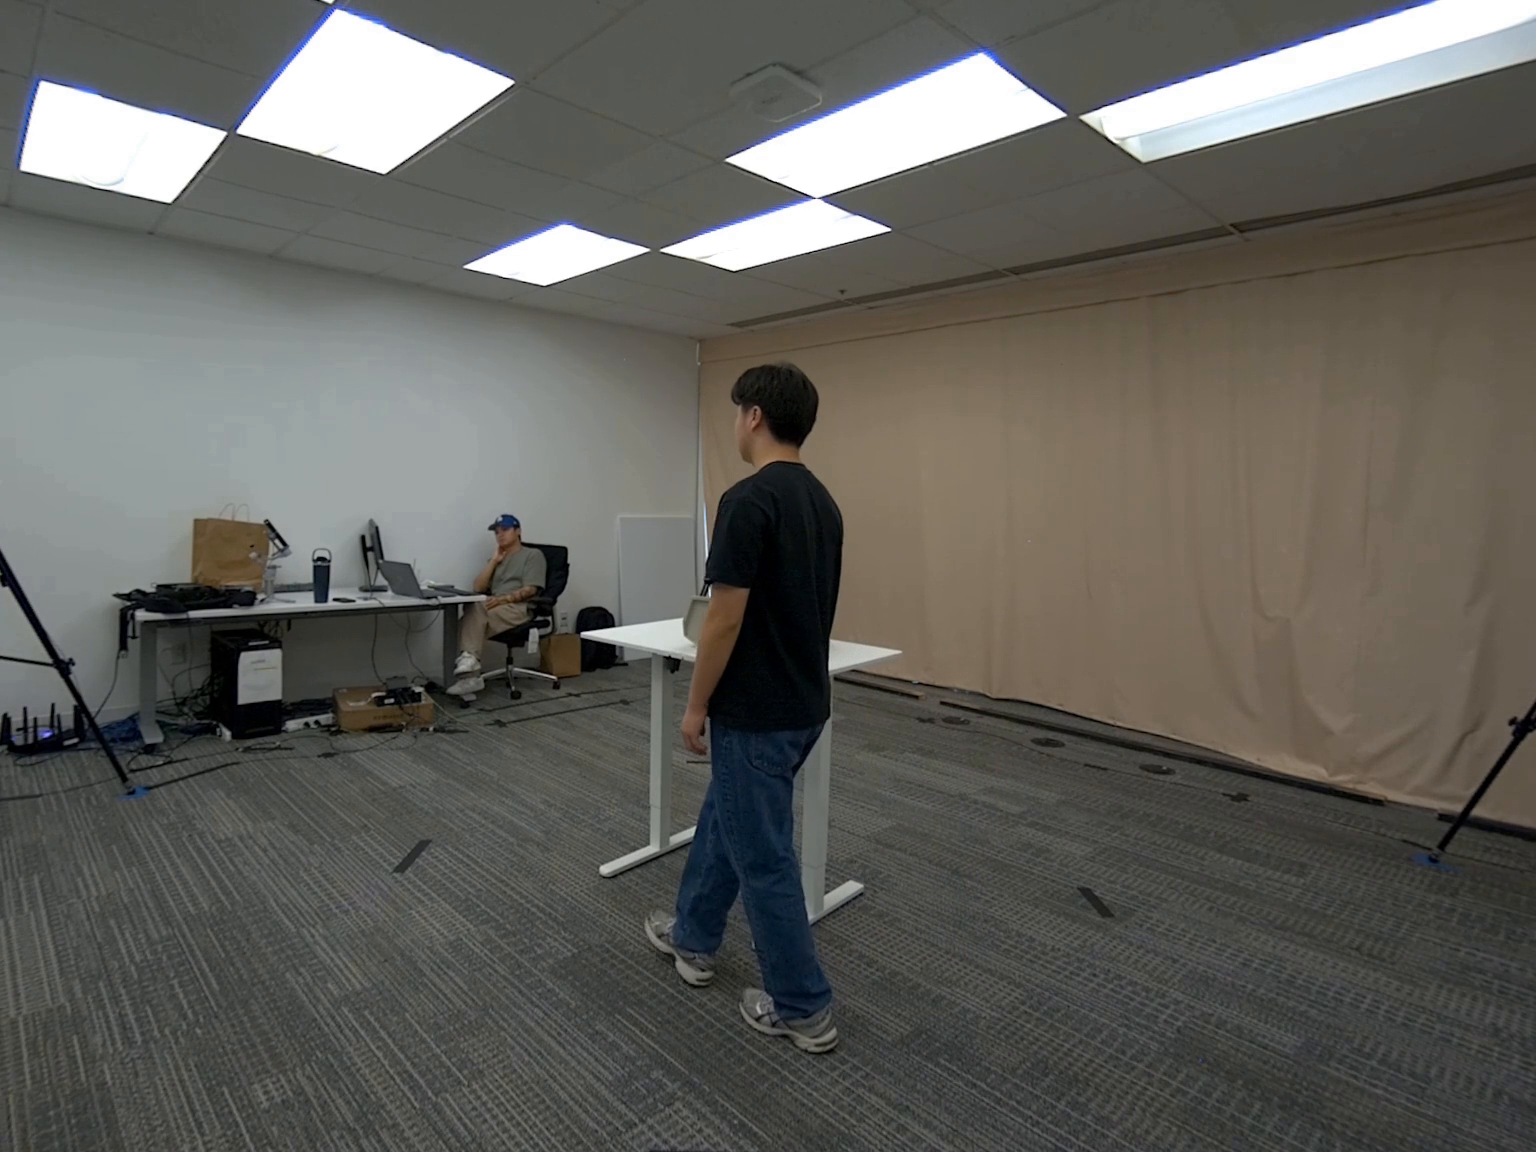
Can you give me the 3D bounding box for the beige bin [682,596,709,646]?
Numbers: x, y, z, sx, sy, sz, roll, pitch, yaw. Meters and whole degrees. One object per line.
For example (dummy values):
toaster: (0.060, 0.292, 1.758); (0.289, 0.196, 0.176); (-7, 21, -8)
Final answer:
beige bin: (-0.025, 0.160, 2.932); (0.386, 0.188, 0.414); (6, 6, 30)
